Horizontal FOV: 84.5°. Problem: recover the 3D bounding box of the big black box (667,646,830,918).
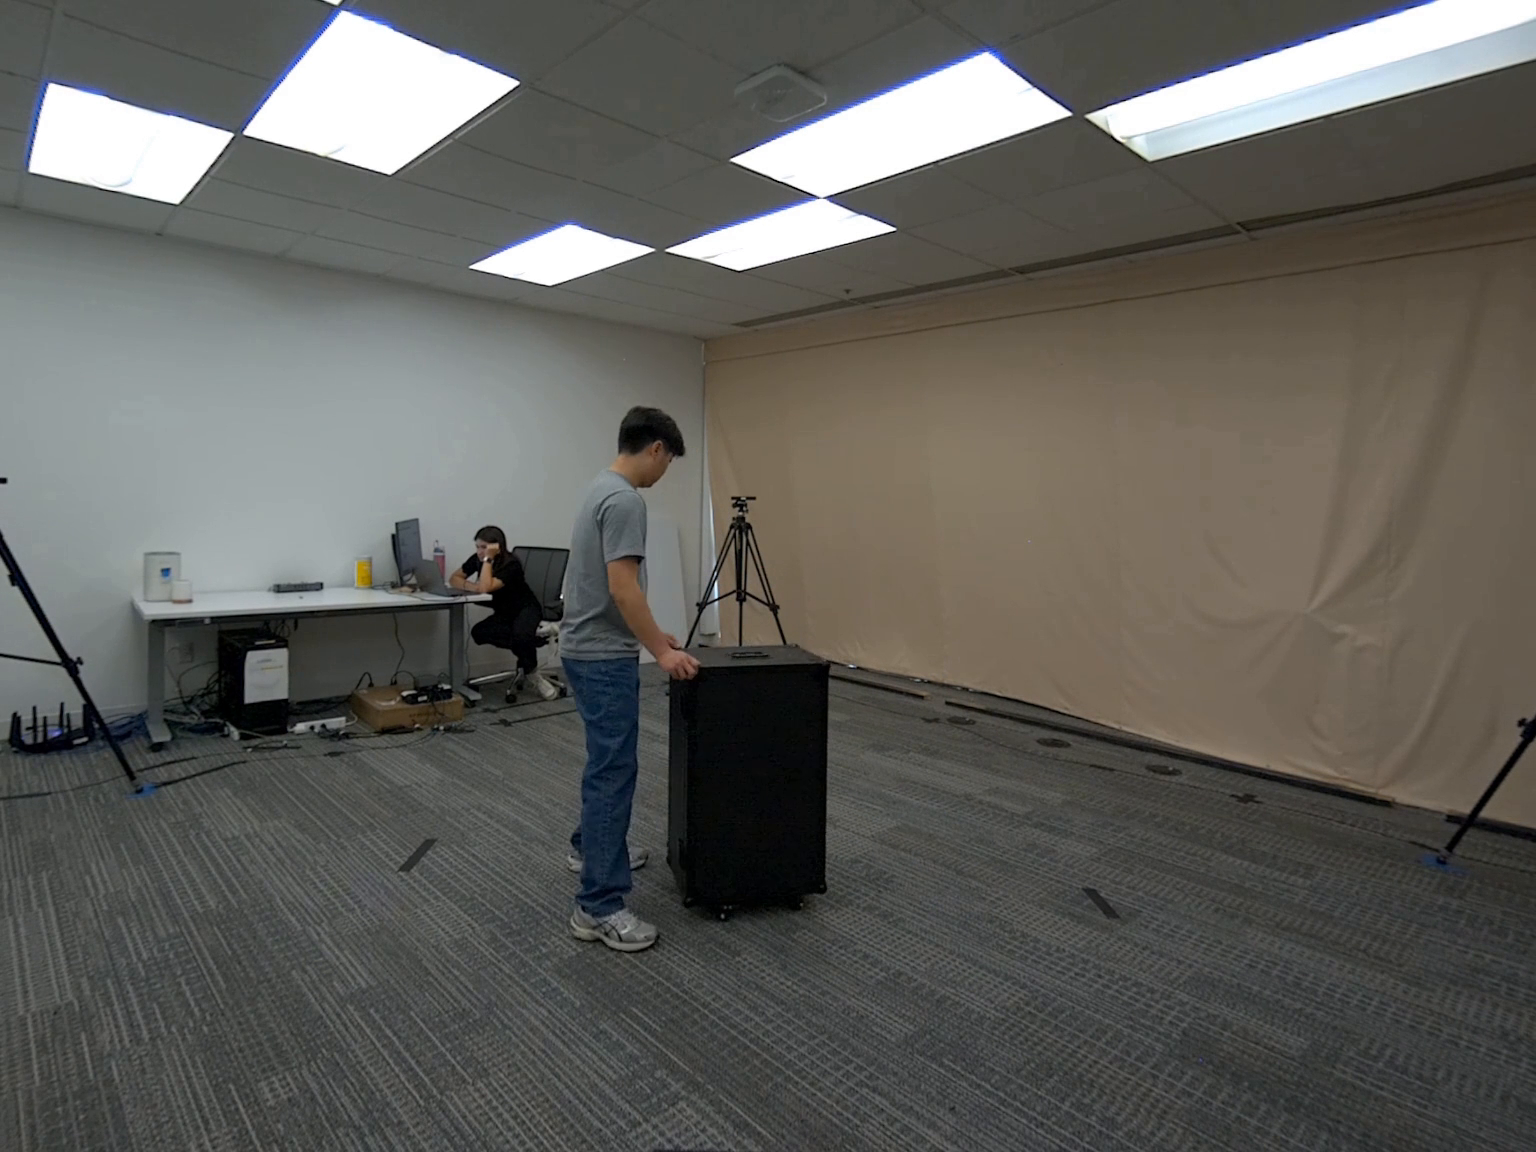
[{"bbox_3d":[-0.092,0.699,2.930,0.515,0.860,0.401,-1,2,-15],"label":"big black box"}]
